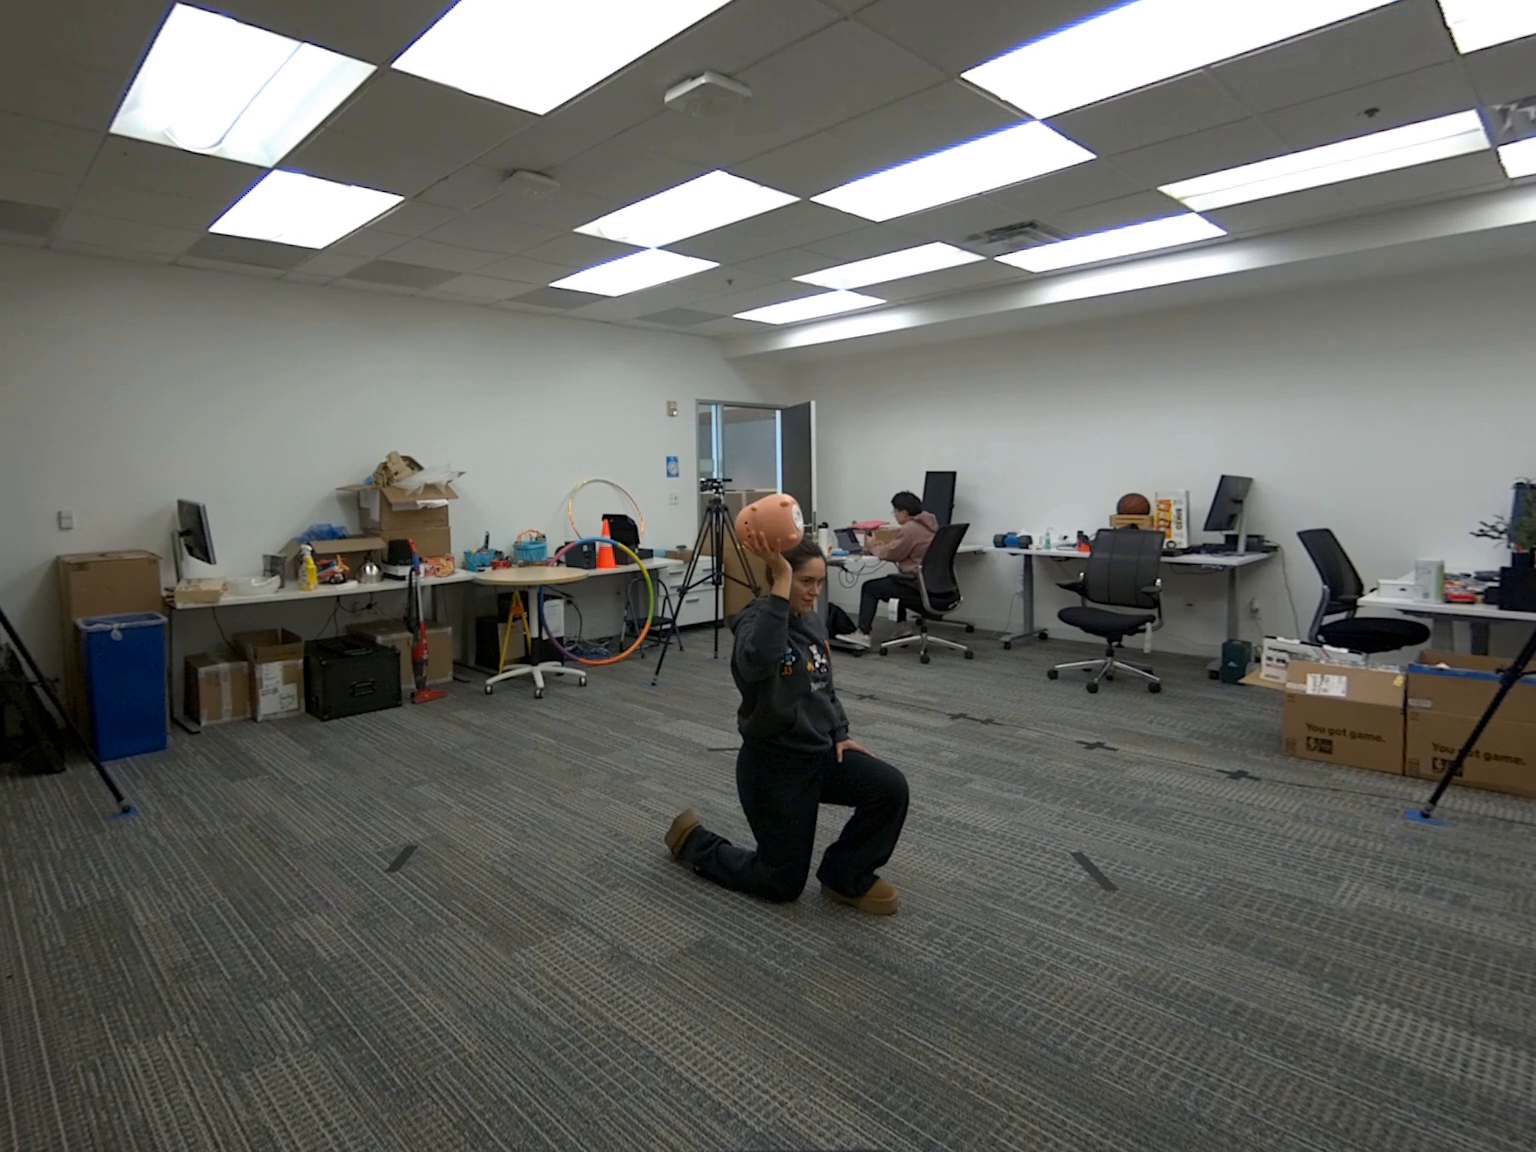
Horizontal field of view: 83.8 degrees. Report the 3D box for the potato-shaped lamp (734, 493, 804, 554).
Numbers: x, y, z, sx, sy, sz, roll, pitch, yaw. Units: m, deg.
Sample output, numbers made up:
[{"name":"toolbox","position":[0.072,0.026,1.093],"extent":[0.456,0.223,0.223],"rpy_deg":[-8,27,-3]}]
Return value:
[{"name":"potato-shaped lamp","position":[0.006,-0.150,2.455],"extent":[0.201,0.164,0.169],"rpy_deg":[-12,5,20]}]
